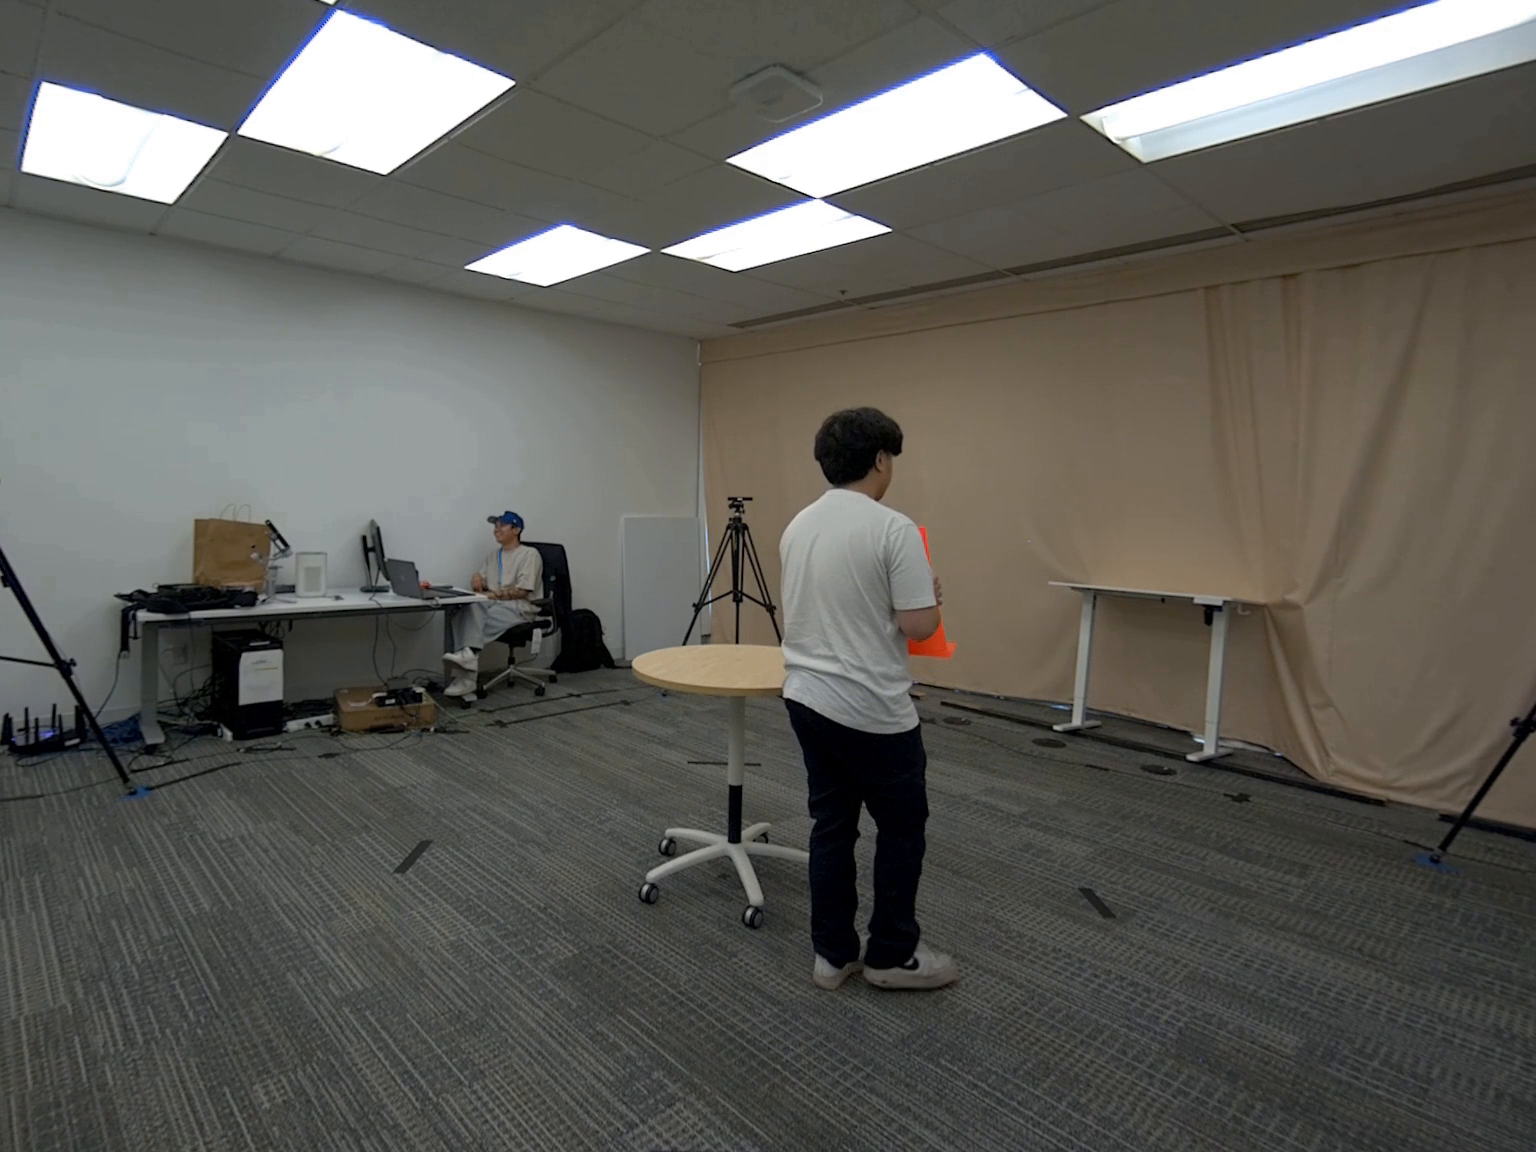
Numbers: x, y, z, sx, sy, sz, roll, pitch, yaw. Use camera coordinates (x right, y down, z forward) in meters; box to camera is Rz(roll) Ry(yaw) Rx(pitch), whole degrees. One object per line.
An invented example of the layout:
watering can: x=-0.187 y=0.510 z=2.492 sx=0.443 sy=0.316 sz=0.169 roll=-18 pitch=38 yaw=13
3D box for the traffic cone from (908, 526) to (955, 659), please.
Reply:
traffic cone: x=0.464 y=0.041 z=2.591 sx=0.206 sy=0.383 sz=0.202 roll=-2 pitch=3 yaw=18
